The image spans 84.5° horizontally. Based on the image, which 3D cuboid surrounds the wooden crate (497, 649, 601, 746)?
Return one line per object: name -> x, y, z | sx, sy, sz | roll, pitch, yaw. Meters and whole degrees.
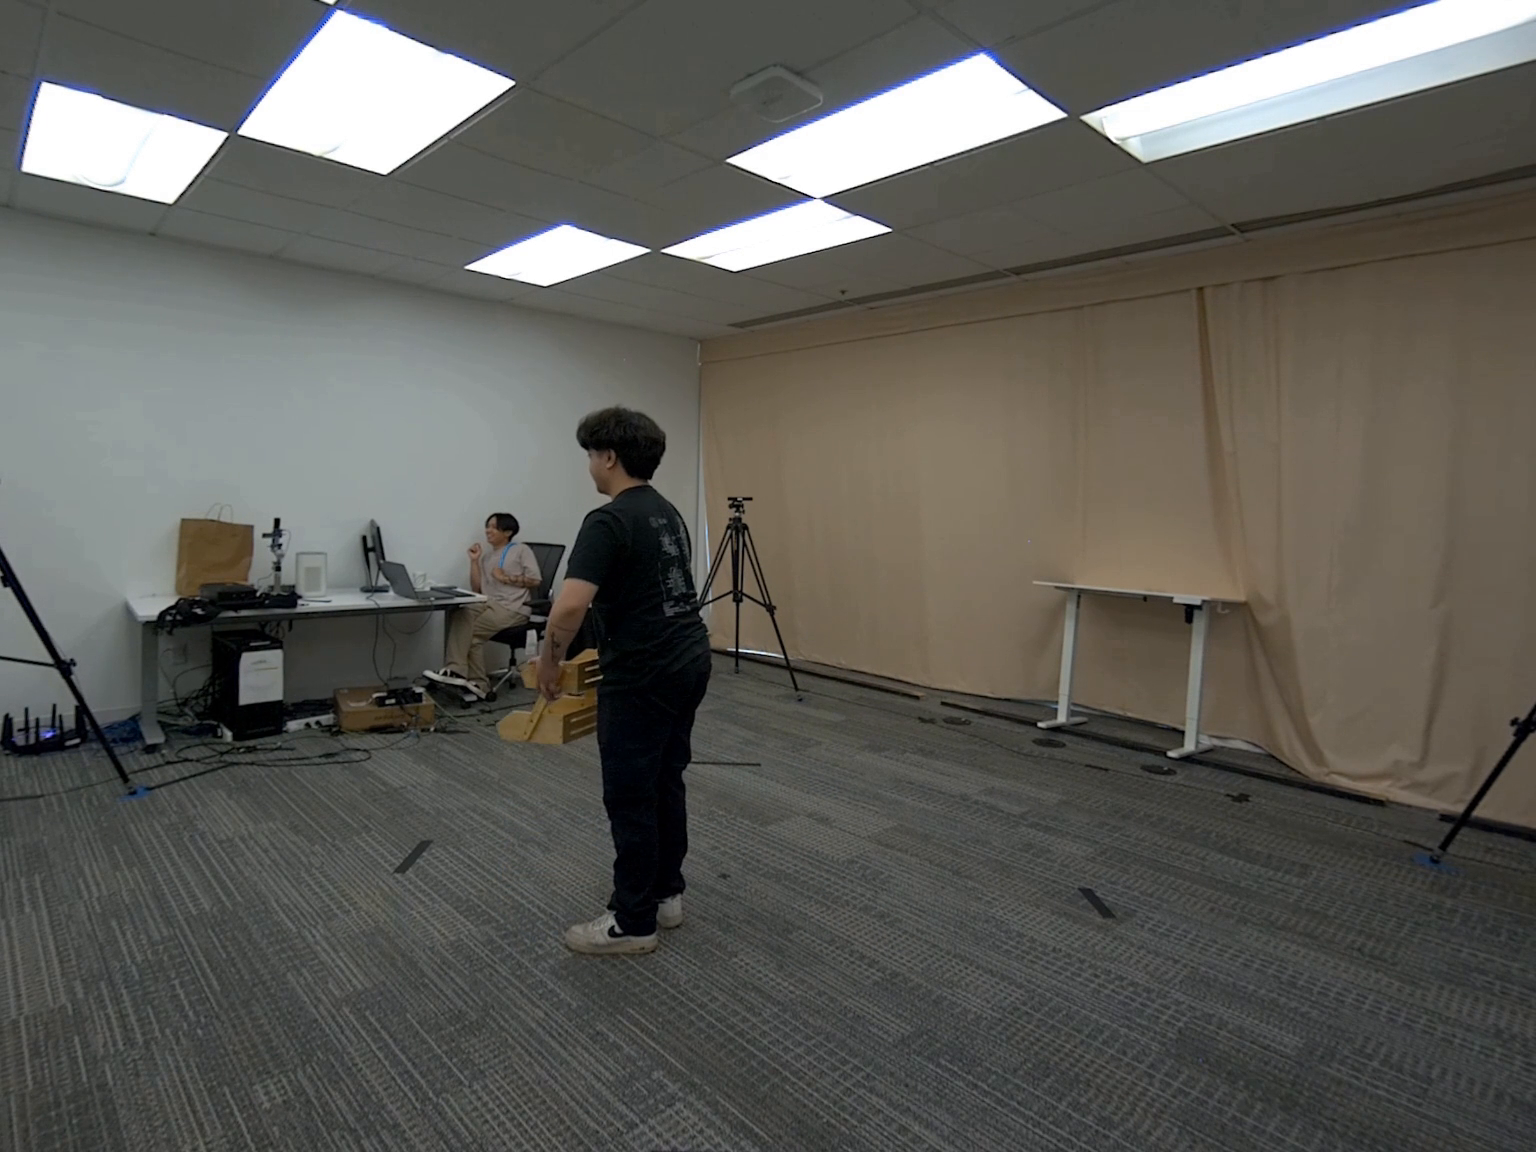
wooden crate -> -0.686, 0.384, 2.787 | 0.307, 0.273, 0.320 | 1, 2, 19
